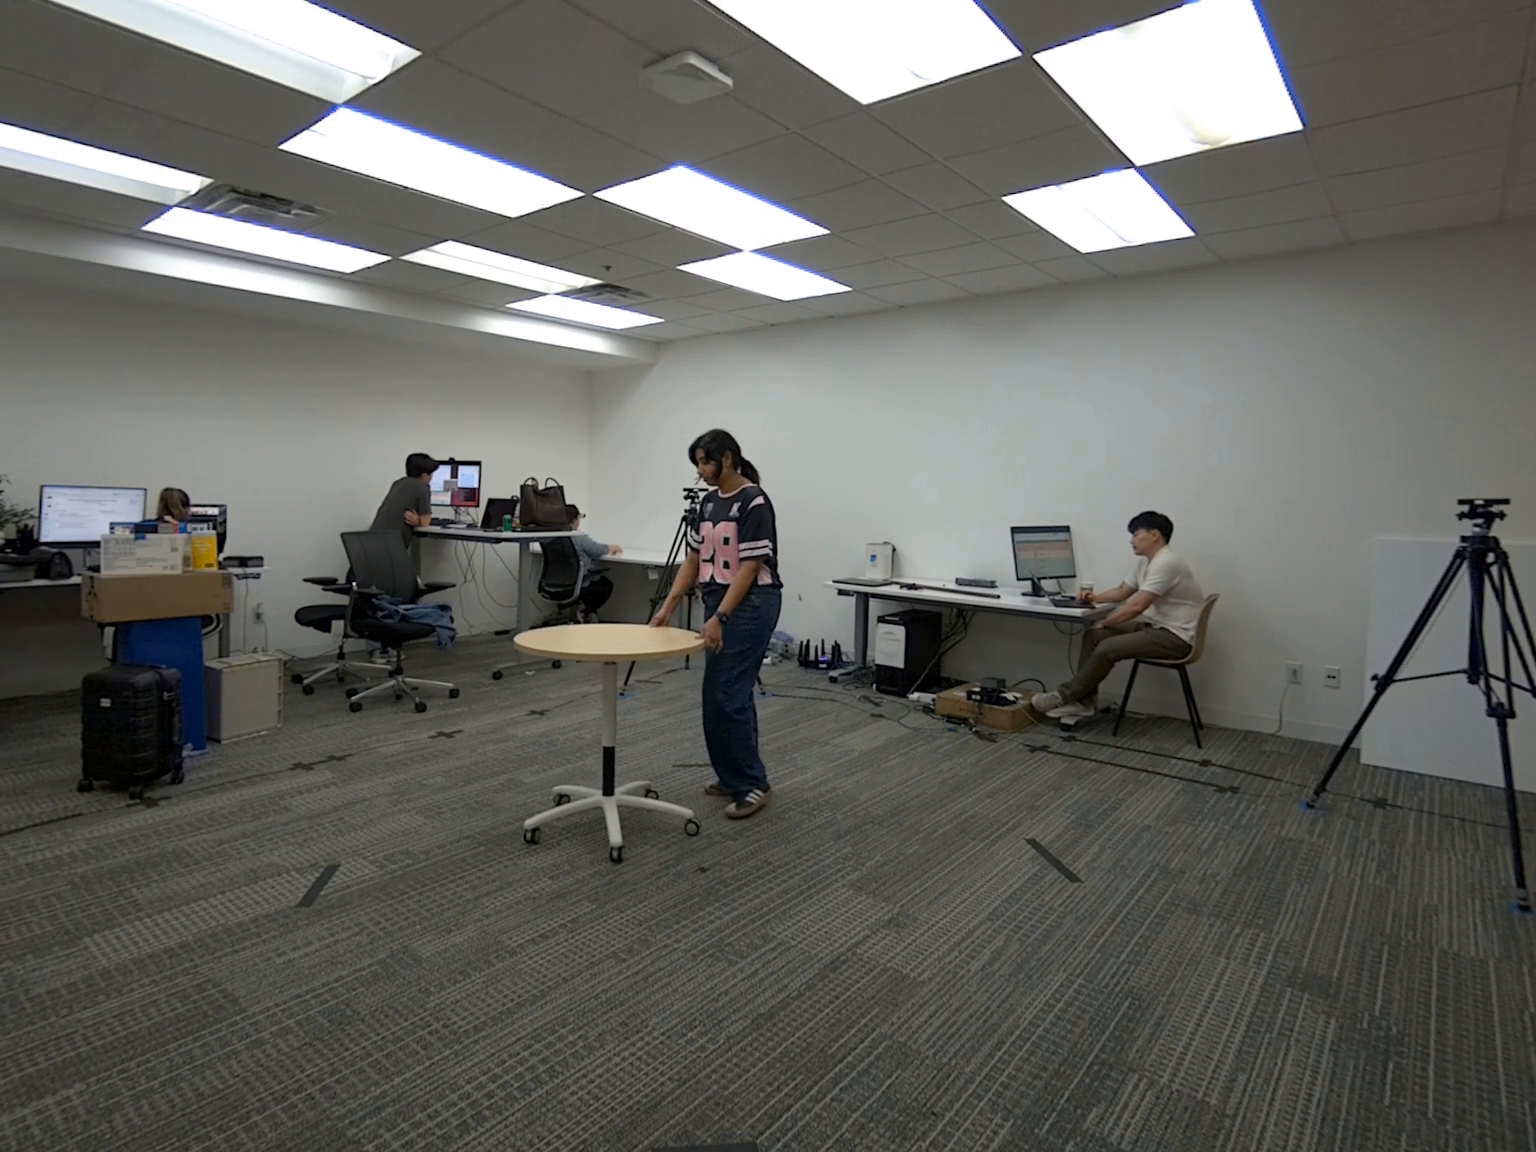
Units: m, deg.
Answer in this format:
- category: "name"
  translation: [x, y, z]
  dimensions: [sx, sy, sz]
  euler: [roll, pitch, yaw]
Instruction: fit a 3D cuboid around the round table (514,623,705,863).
- category: "round table"
  translation: [-0.653, 0.637, 3.436]
  dimensions: [0.784, 0.785, 0.788]
  euler: [1, 3, -2]
